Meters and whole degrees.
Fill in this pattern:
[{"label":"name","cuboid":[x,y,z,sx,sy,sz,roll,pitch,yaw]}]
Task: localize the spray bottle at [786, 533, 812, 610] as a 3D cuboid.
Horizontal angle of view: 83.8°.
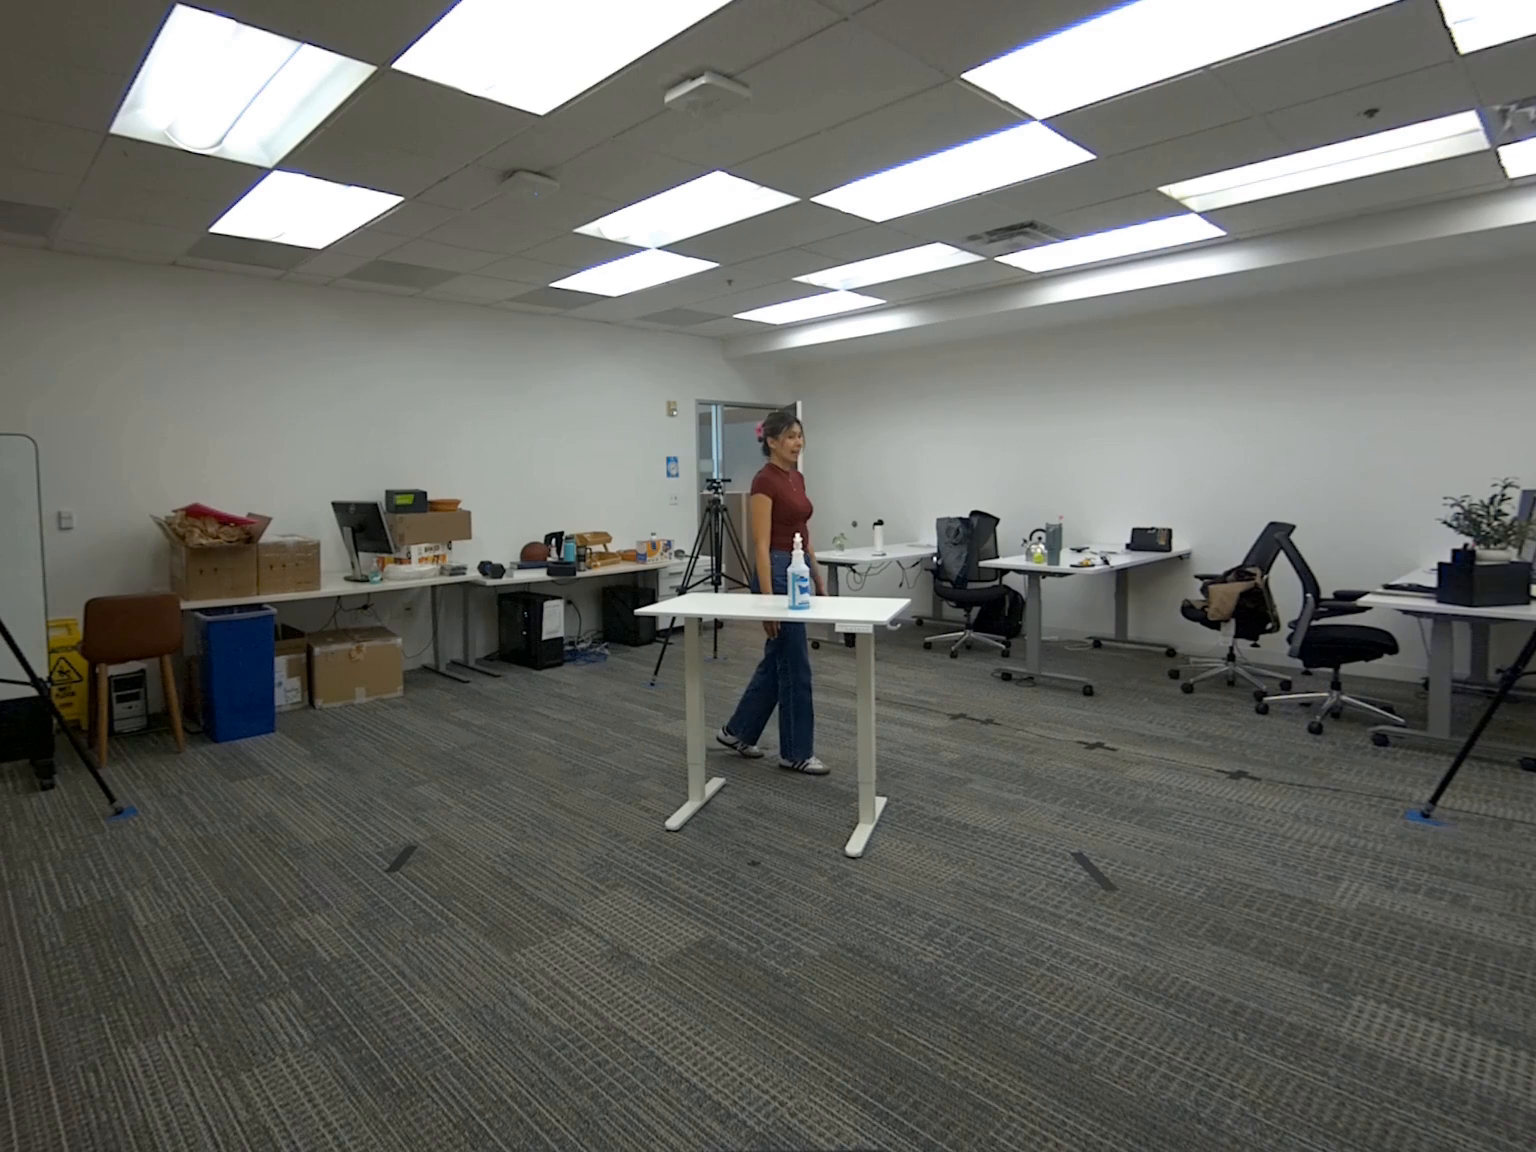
[{"label":"spray bottle","cuboid":[0.121,-0.015,3.377,0.089,0.297,0.088,2,2,26]}]
